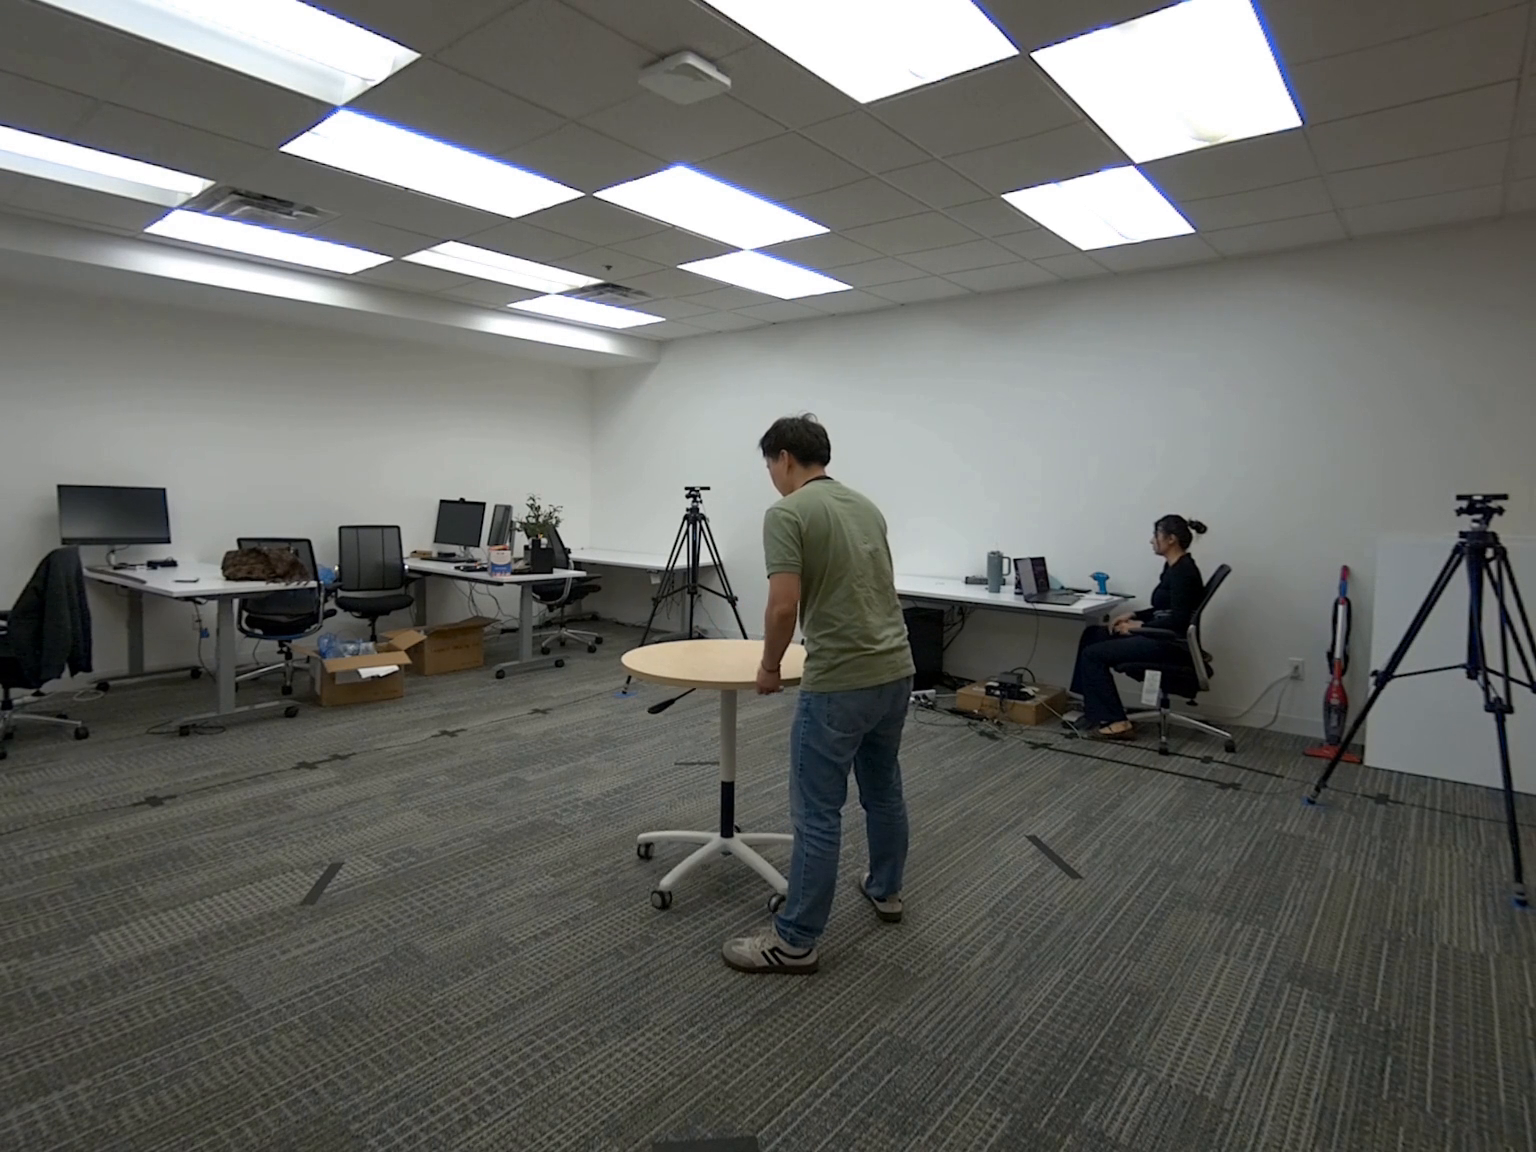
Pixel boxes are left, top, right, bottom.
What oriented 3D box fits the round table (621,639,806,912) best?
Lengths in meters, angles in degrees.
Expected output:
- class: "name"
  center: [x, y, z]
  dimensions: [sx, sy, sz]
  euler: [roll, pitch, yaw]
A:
- class: "round table"
  center: [-0.161, 0.682, 3.041]
  dimensions: [0.763, 0.791, 0.768]
  euler: [1, 4, -2]
